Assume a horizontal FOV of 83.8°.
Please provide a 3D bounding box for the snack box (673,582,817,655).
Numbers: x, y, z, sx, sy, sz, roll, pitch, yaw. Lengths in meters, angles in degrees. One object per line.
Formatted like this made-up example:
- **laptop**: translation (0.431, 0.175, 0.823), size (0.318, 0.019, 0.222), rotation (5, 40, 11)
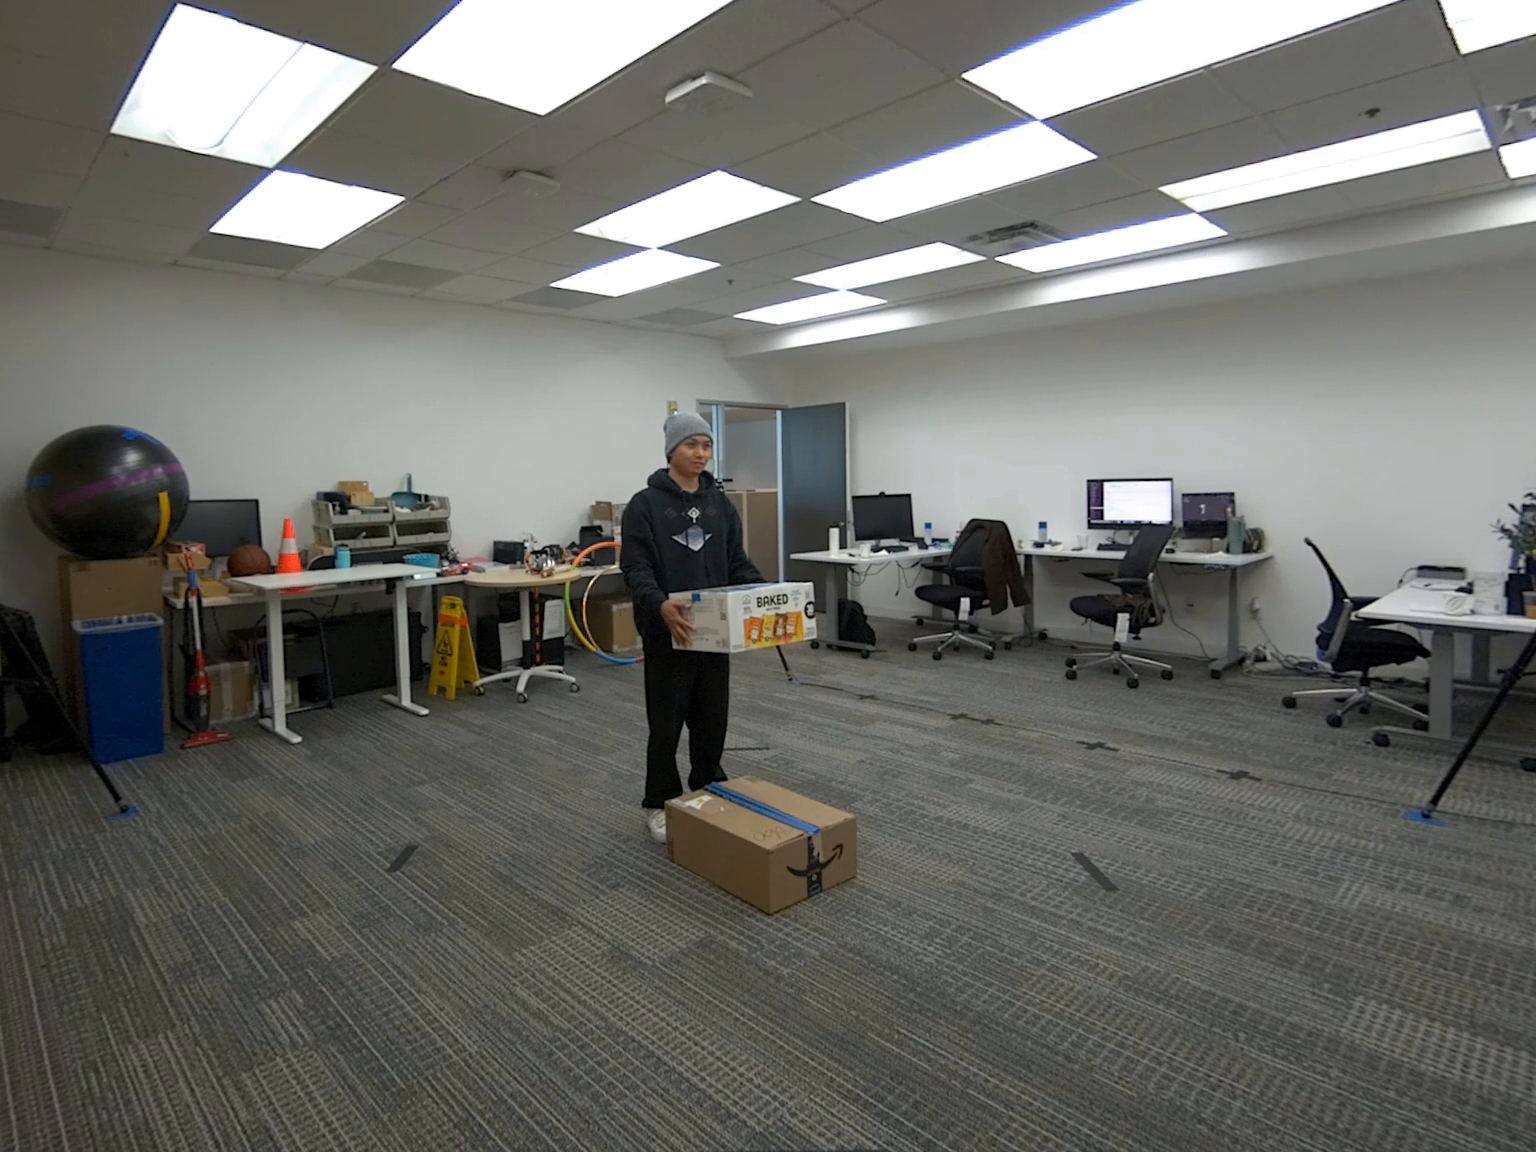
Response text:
- **snack box**: translation (-0.088, 0.145, 3.081), size (0.394, 0.206, 0.349), rotation (-5, 1, -40)
